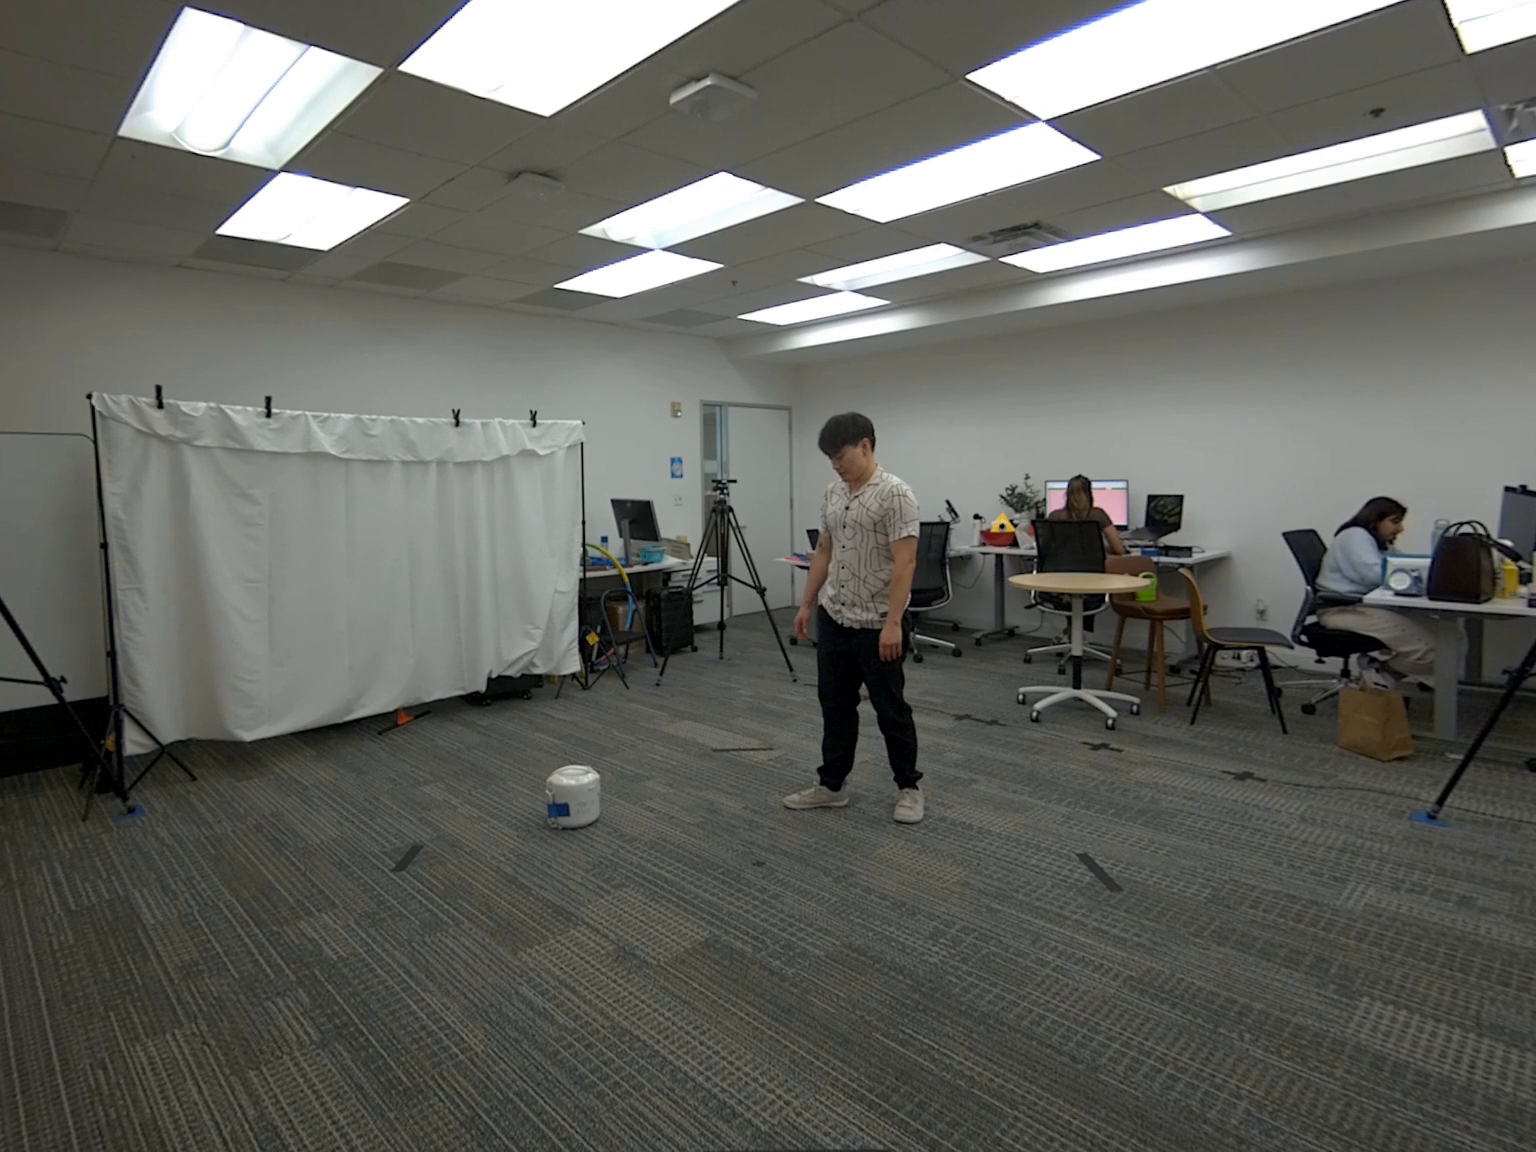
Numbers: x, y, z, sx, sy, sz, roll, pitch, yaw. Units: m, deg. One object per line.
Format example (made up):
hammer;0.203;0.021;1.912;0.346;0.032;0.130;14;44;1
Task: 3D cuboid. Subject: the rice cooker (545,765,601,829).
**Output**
rice cooker;-0.801;0.898;3.532;0.220;0.232;0.219;-1;5;-3
